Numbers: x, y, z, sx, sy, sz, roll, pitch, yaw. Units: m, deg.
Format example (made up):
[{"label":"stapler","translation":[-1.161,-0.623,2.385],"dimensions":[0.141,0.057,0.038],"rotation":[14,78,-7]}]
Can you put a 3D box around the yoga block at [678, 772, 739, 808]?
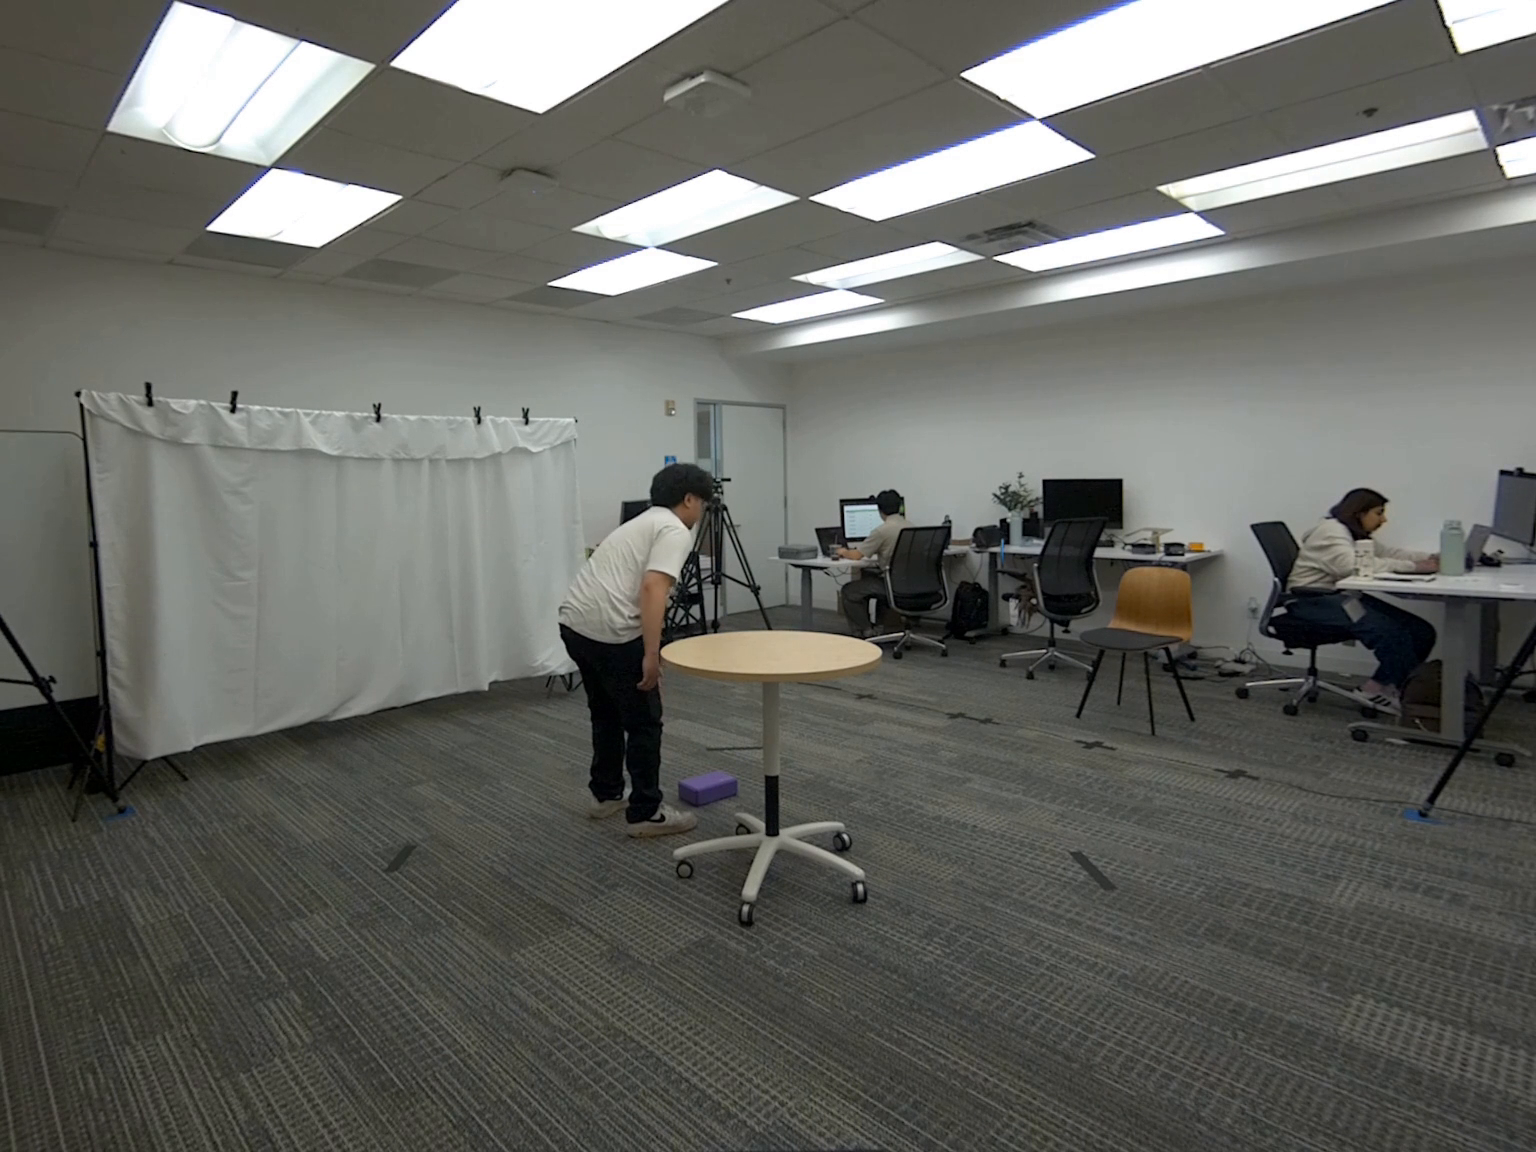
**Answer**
[{"label":"yoga block","translation":[-0.266,0.930,3.765],"dimensions":[0.223,0.076,0.153],"rotation":[-5,7,-39]}]
